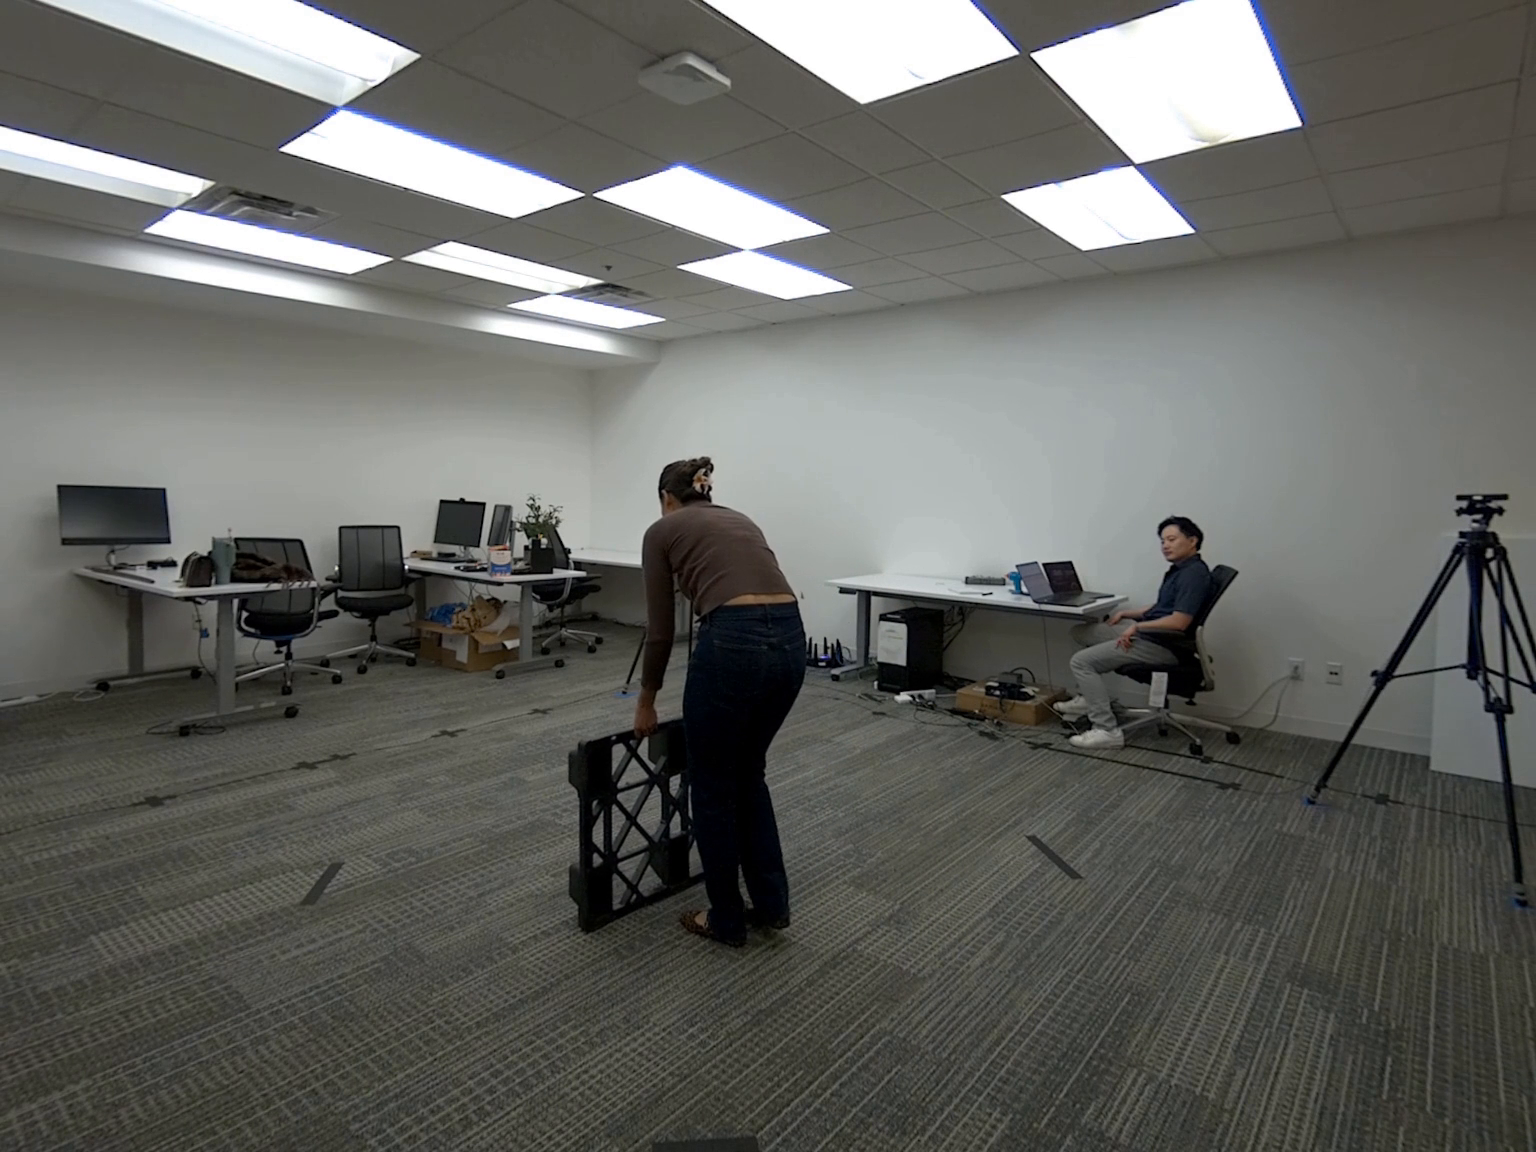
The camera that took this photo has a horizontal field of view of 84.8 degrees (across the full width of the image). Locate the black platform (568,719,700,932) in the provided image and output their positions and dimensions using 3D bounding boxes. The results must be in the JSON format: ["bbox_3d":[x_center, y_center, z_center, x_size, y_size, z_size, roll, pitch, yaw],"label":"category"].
[{"bbox_3d":[-0.357,0.778,2.948,0.148,0.603,0.781,3,4,43],"label":"black platform"}]
